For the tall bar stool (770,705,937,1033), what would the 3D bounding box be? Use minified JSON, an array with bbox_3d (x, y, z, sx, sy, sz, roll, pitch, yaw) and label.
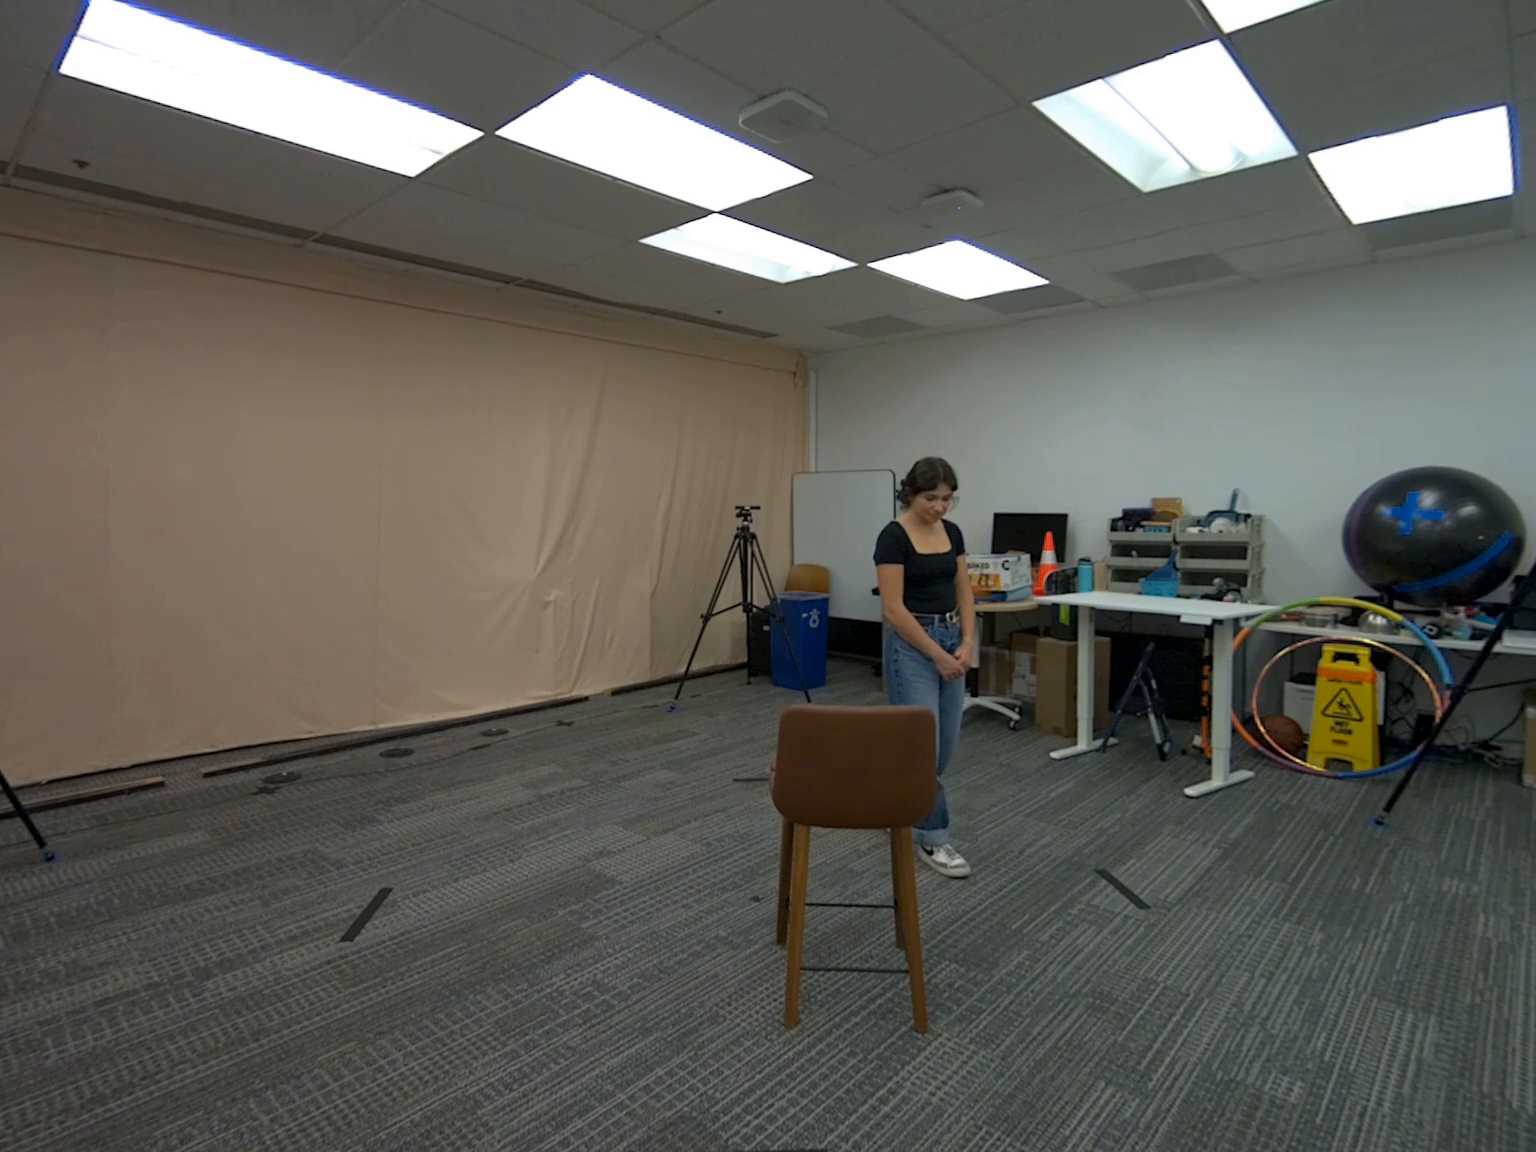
[{"bbox_3d":[0.238,0.756,2.428,0.458,0.887,0.468,0,5,1],"label":"tall bar stool"}]
